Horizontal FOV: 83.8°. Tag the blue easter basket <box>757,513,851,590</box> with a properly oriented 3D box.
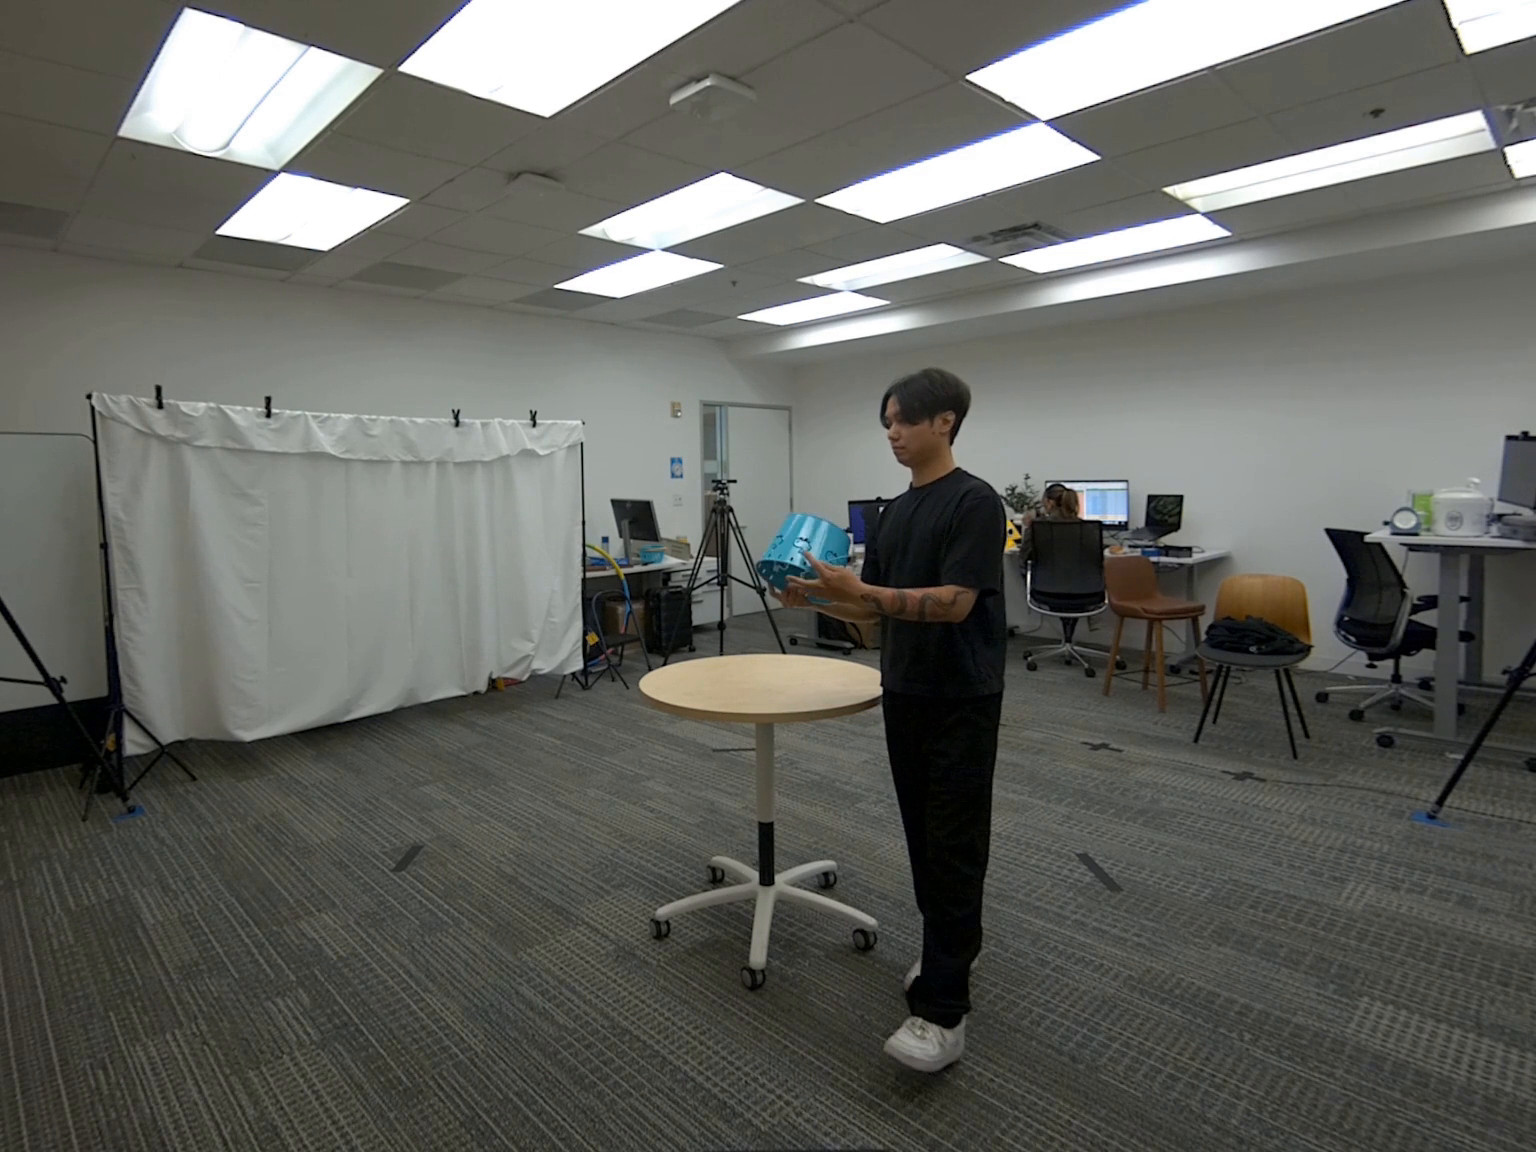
[{"bbox_3d":[0.125,-0.045,2.182,0.246,0.157,0.239,22,-18,6],"label":"blue easter basket"}]
